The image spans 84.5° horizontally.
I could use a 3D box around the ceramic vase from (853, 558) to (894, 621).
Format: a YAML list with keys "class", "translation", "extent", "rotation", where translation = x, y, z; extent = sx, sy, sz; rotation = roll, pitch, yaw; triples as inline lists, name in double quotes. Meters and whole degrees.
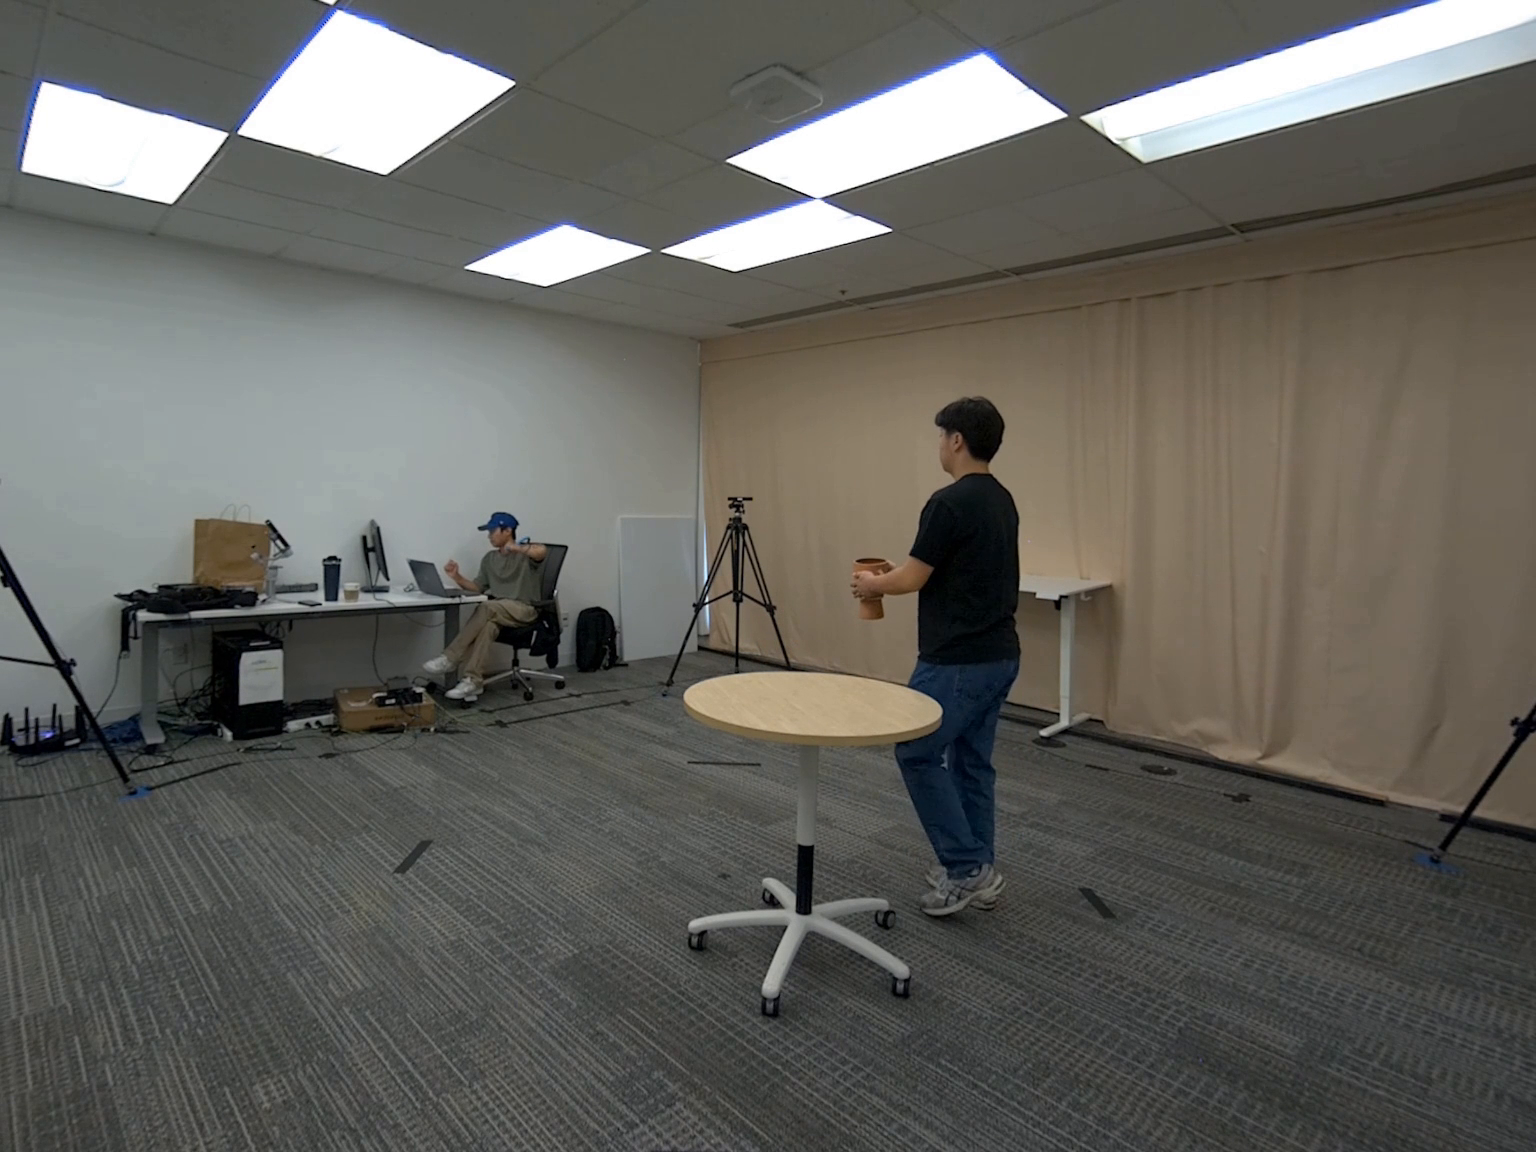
- class: "ceramic vase"
  translation: [0.396, 0.051, 3.236]
  extent: [0.136, 0.218, 0.158]
  rotation: [2, 11, 15]
